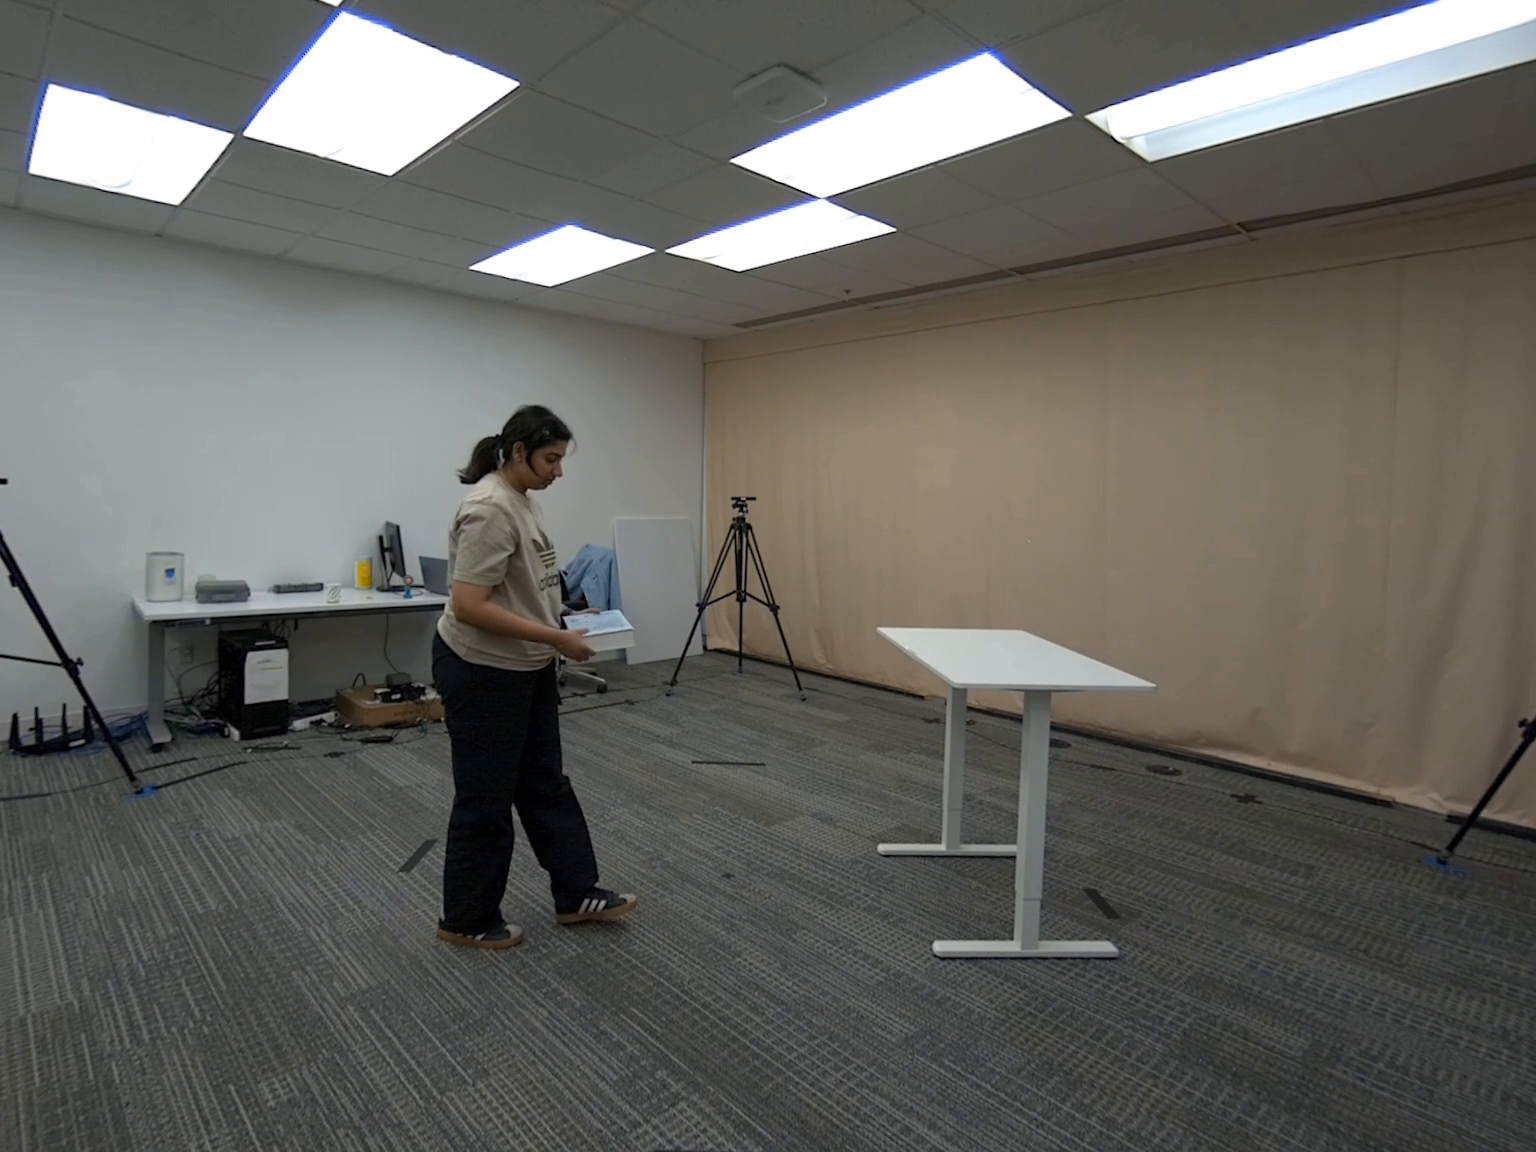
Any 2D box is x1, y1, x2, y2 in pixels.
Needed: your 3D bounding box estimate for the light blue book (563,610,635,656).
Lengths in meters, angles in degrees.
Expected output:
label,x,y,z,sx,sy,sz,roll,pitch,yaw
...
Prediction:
label,x,y,z,sx,sy,sz,roll,pitch,yaw
light blue book,-0.554,0.171,2.647,0.189,0.058,0.266,-6,12,-16
